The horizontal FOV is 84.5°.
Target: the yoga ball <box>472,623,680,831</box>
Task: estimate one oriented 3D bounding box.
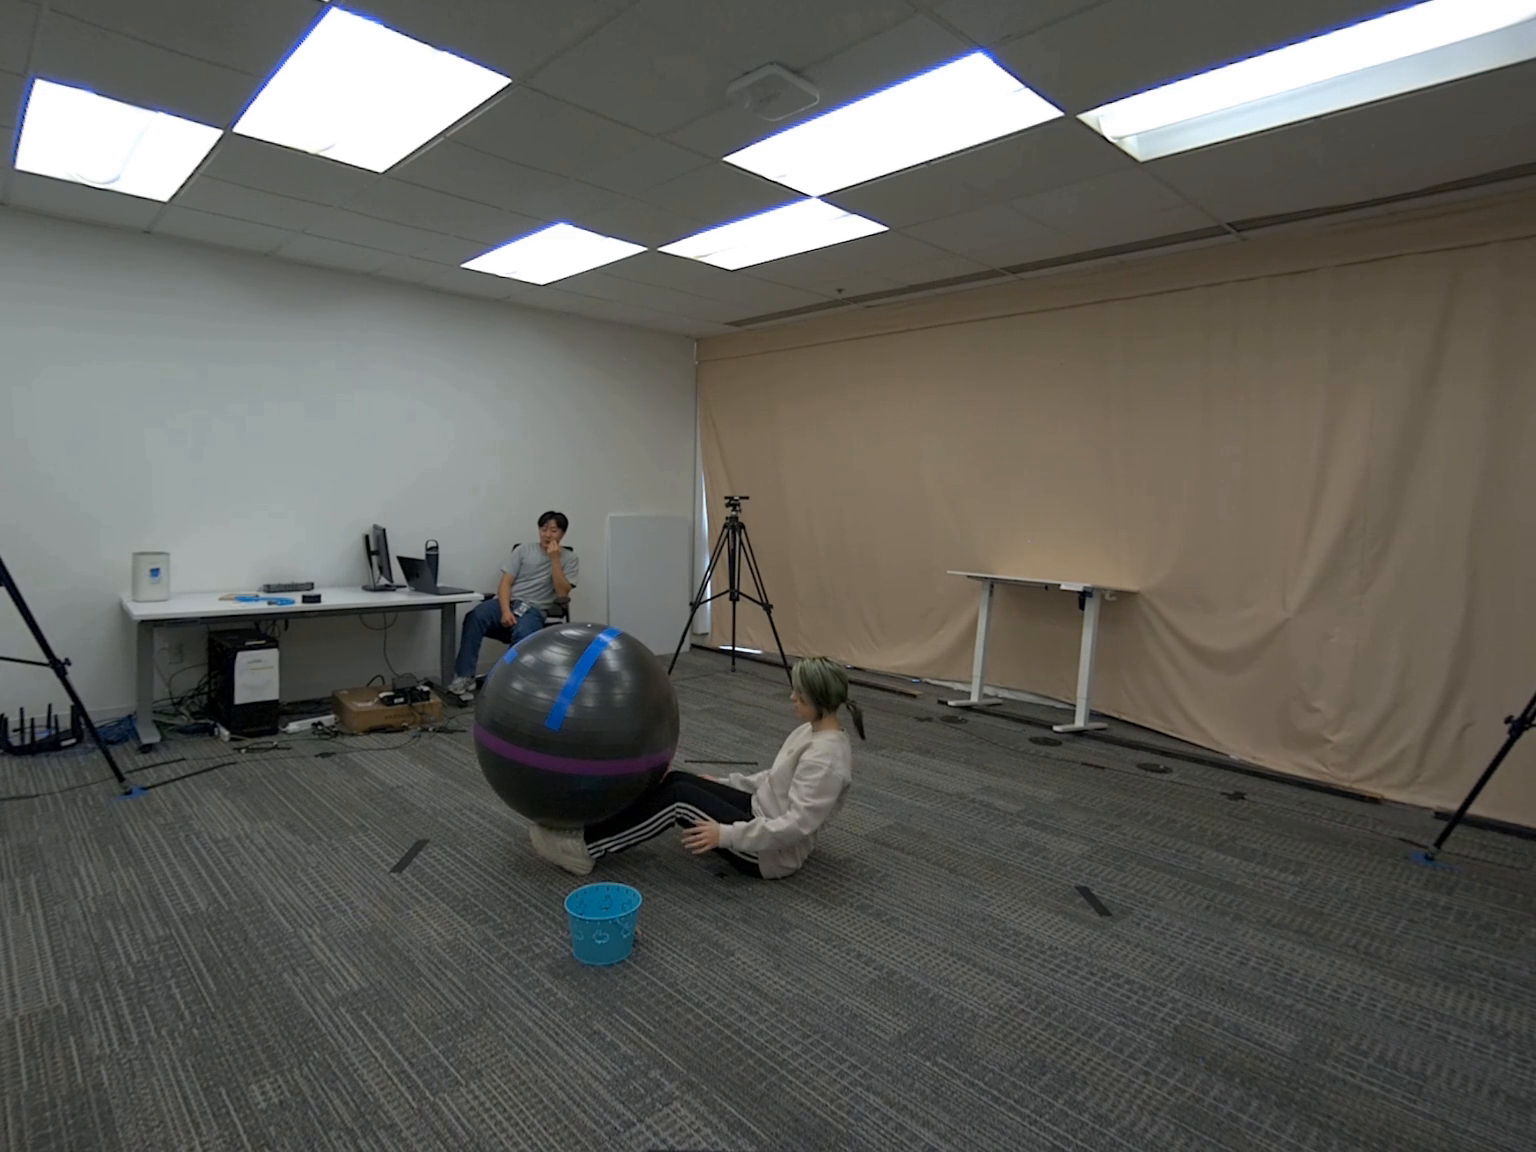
[{"bbox_3d":[-0.725,0.559,3.168,0.757,0.756,0.761,1,4,-1],"label":"yoga ball"}]
